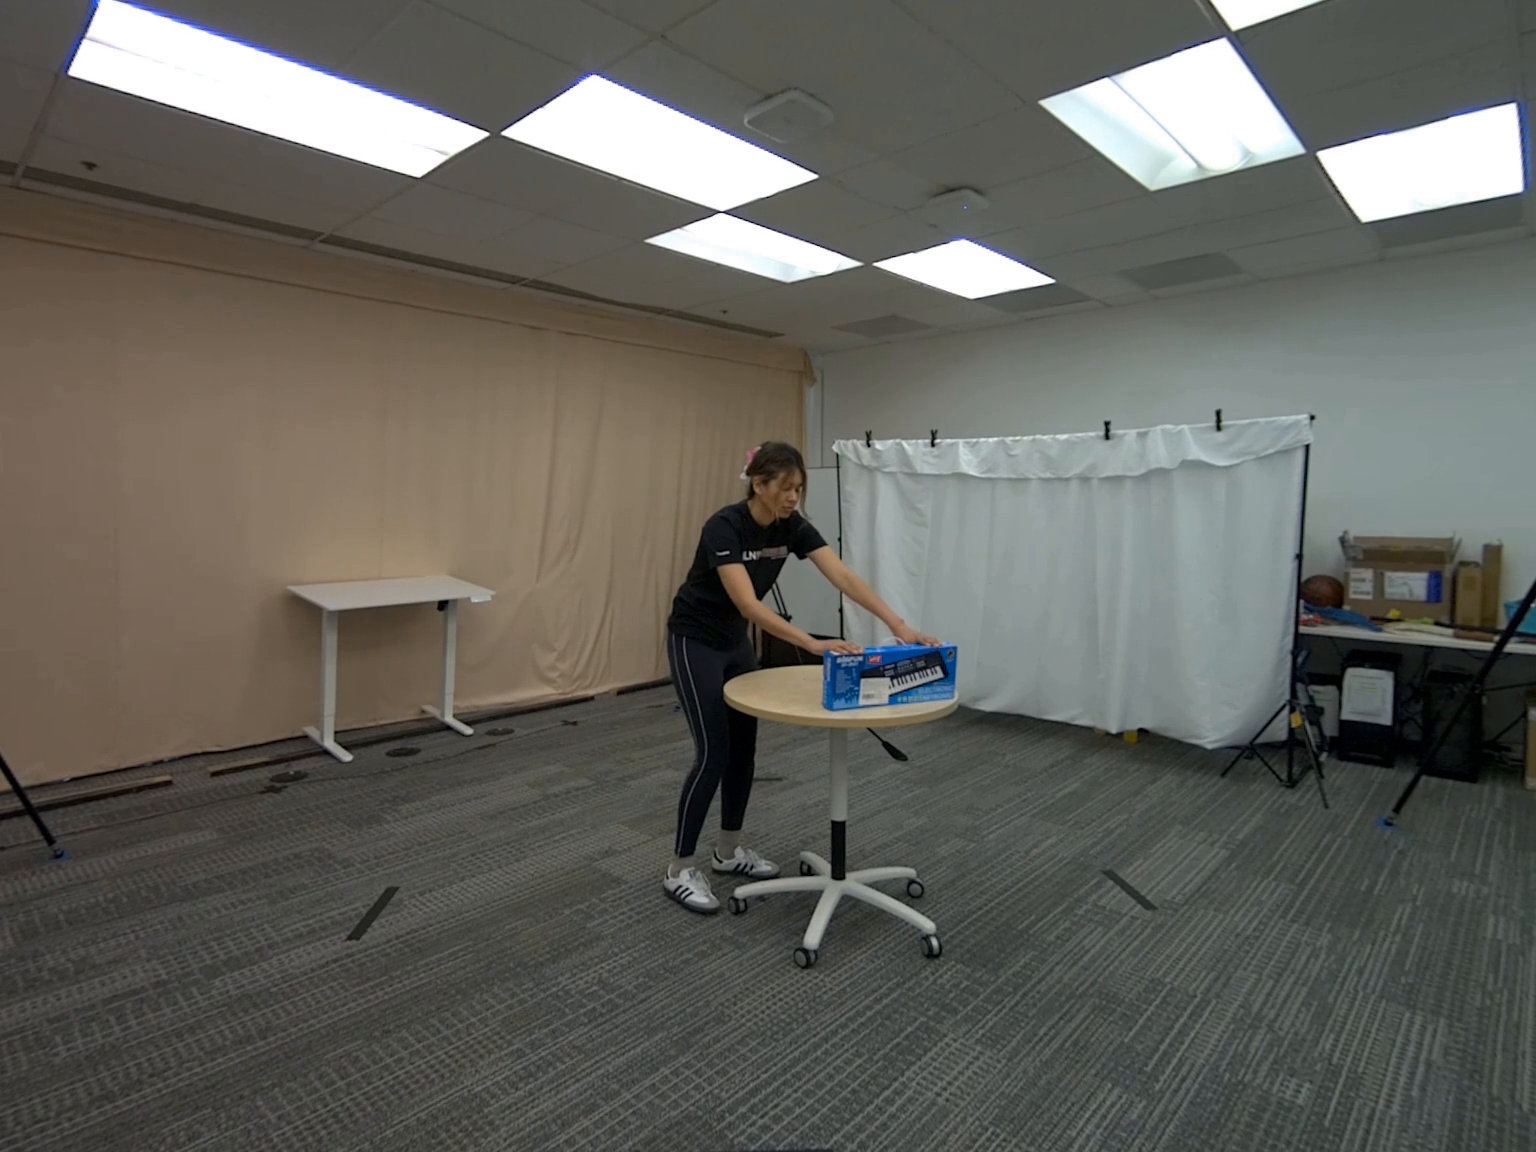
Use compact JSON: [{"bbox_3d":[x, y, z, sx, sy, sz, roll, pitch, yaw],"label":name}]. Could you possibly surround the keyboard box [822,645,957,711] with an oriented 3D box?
[{"bbox_3d":[0.383,0.308,2.586,0.428,0.175,0.060,-2,8,-21],"label":"keyboard box"}]
